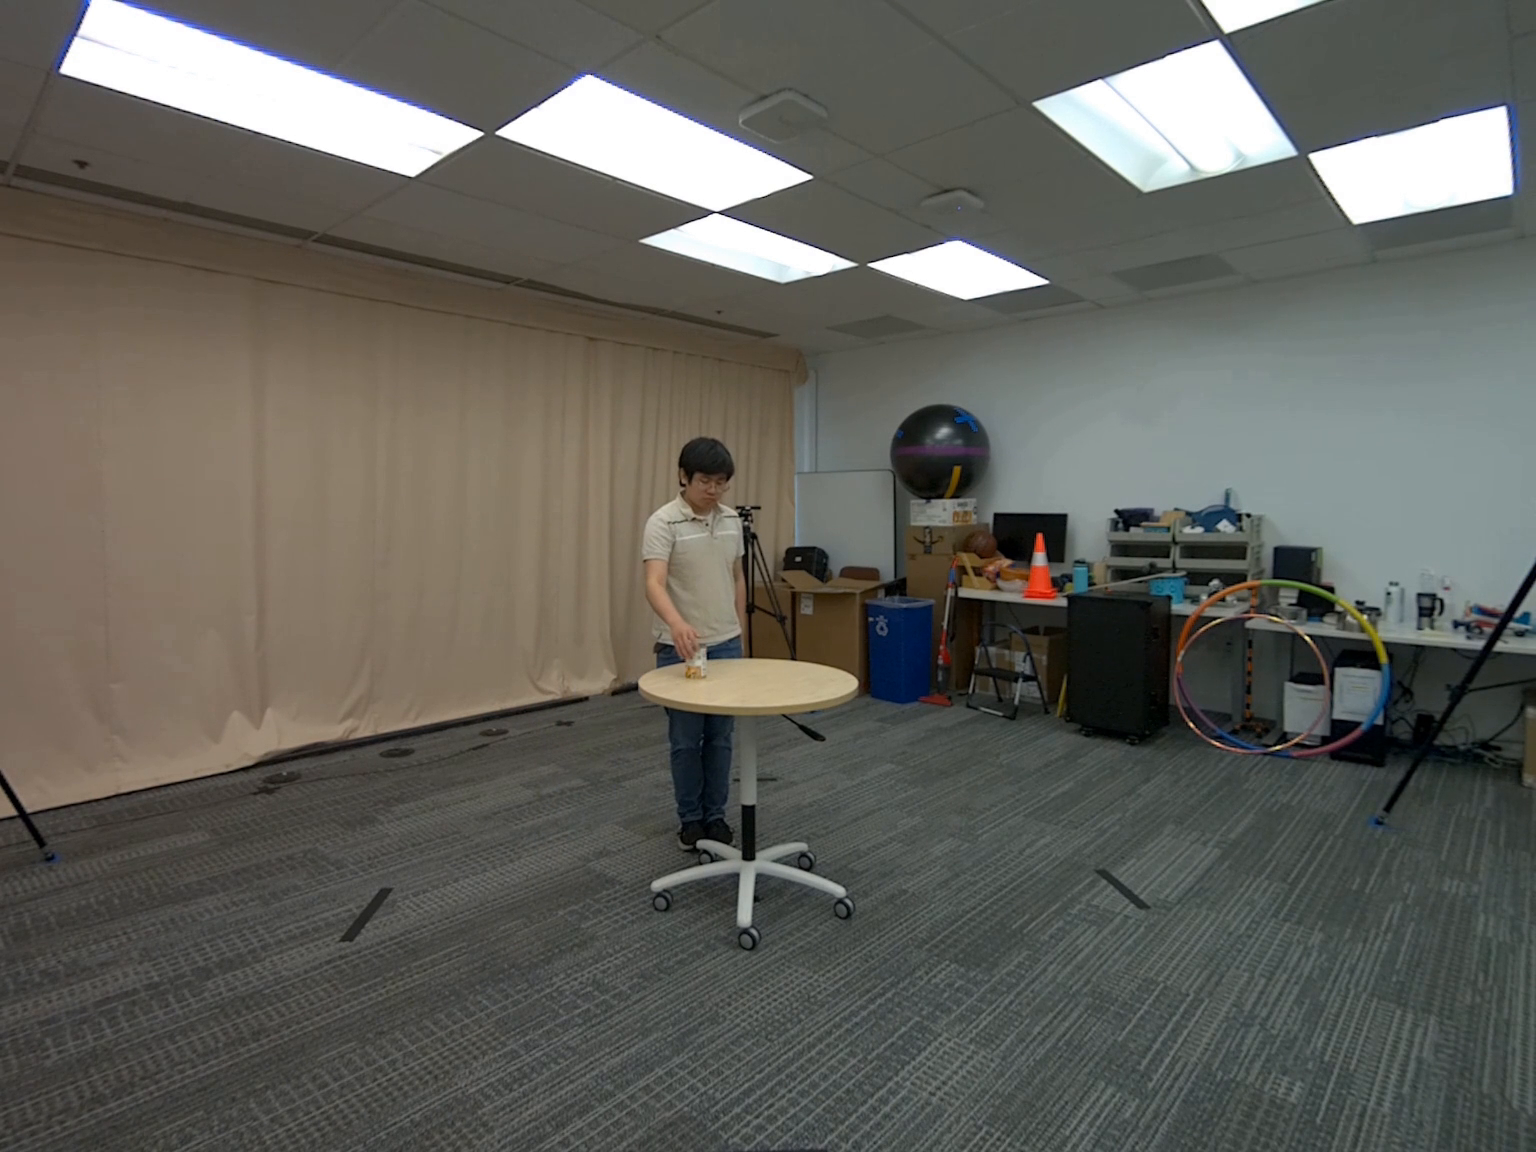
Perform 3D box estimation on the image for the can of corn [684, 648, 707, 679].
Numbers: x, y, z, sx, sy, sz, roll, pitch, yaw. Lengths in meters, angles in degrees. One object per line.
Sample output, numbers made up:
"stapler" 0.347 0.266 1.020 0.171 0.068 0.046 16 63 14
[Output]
"can of corn" -0.248 0.303 2.996 0.074 0.111 0.074 -1 3 -2
